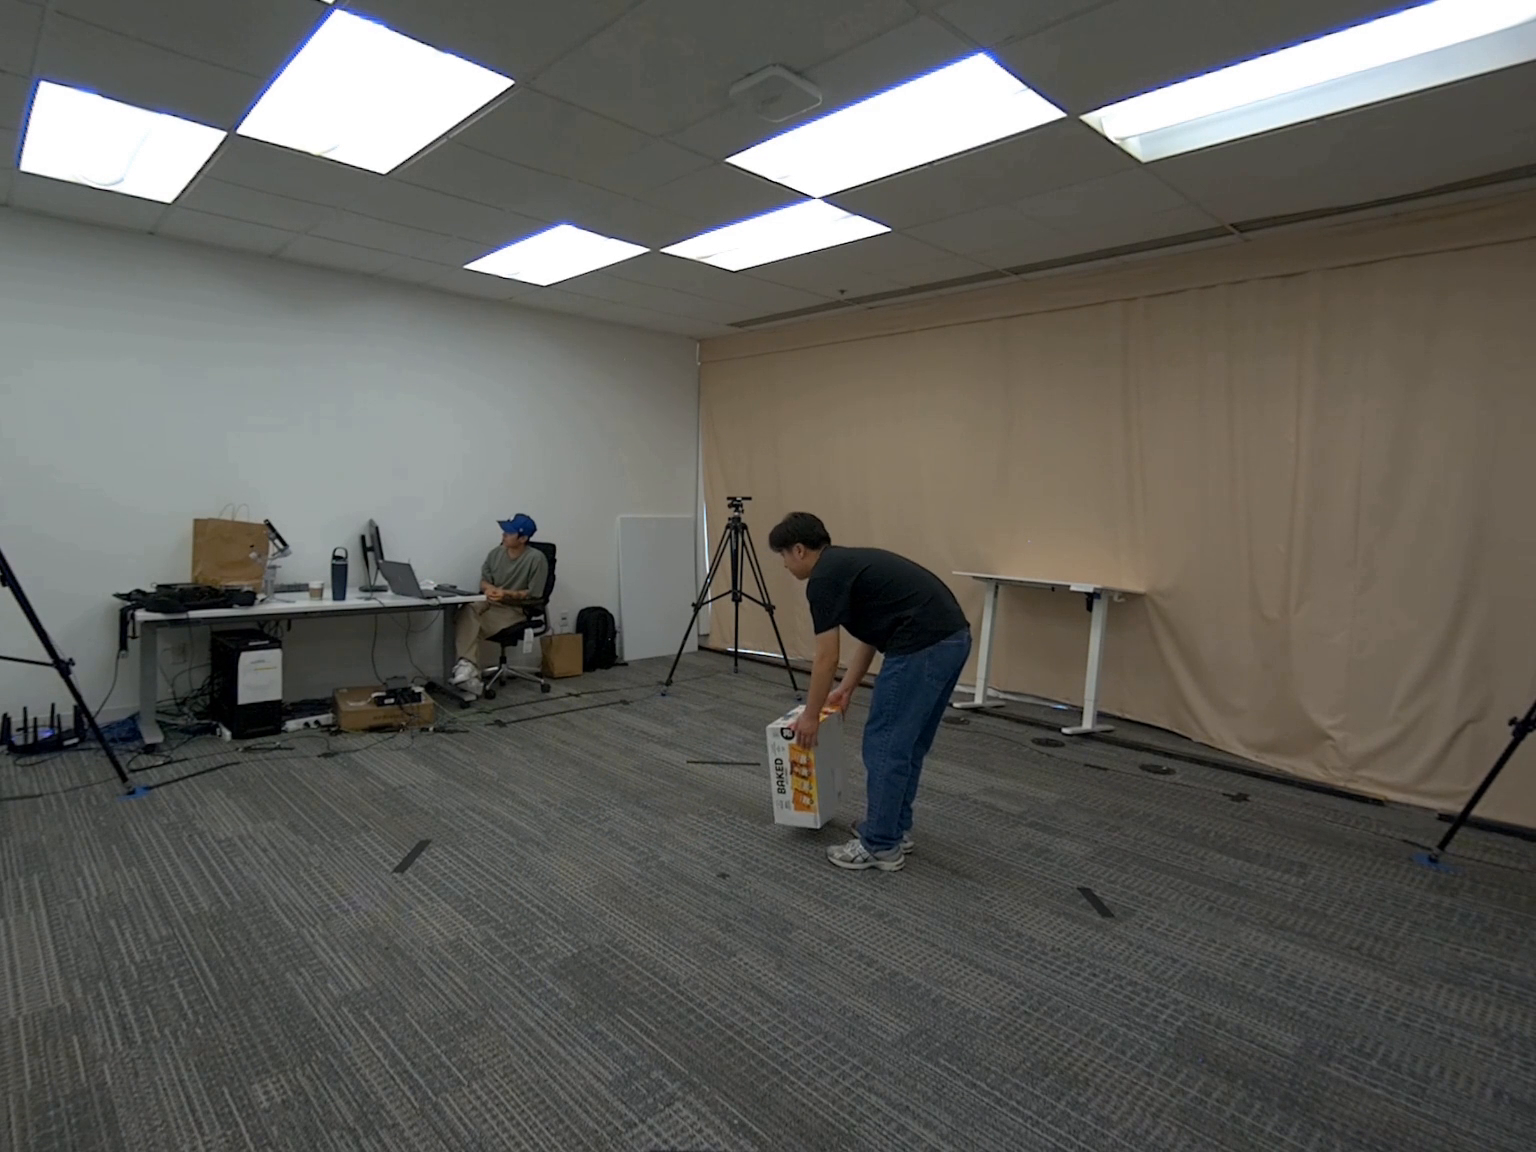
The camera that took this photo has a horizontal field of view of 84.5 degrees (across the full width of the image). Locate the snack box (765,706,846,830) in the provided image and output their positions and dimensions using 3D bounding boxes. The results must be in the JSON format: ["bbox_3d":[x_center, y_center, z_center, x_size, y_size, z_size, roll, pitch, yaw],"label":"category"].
[{"bbox_3d":[0.166,0.786,3.531,0.209,0.404,0.335,-3,4,26],"label":"snack box"}]
